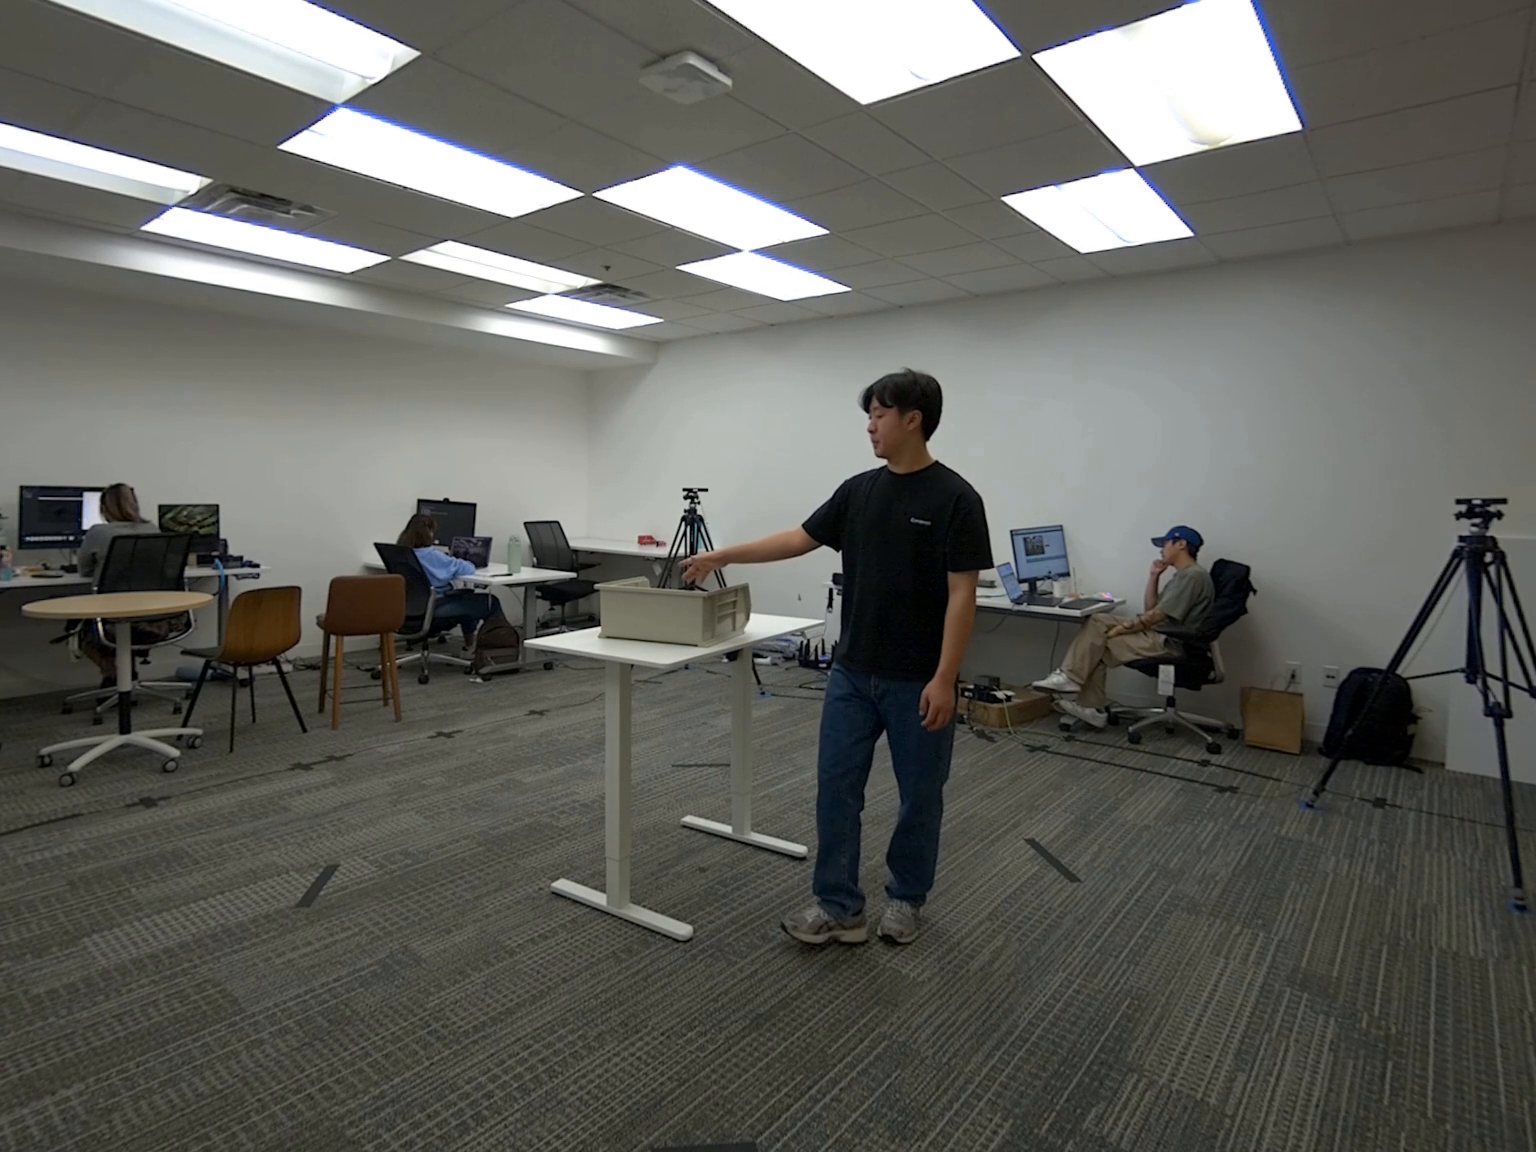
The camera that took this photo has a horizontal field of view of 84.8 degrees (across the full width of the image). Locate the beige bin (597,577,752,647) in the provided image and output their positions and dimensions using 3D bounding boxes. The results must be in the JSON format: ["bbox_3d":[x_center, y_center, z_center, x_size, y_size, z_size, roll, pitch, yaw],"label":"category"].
[{"bbox_3d":[-0.332,0.115,2.943,0.433,0.188,0.370,4,7,24],"label":"beige bin"}]
